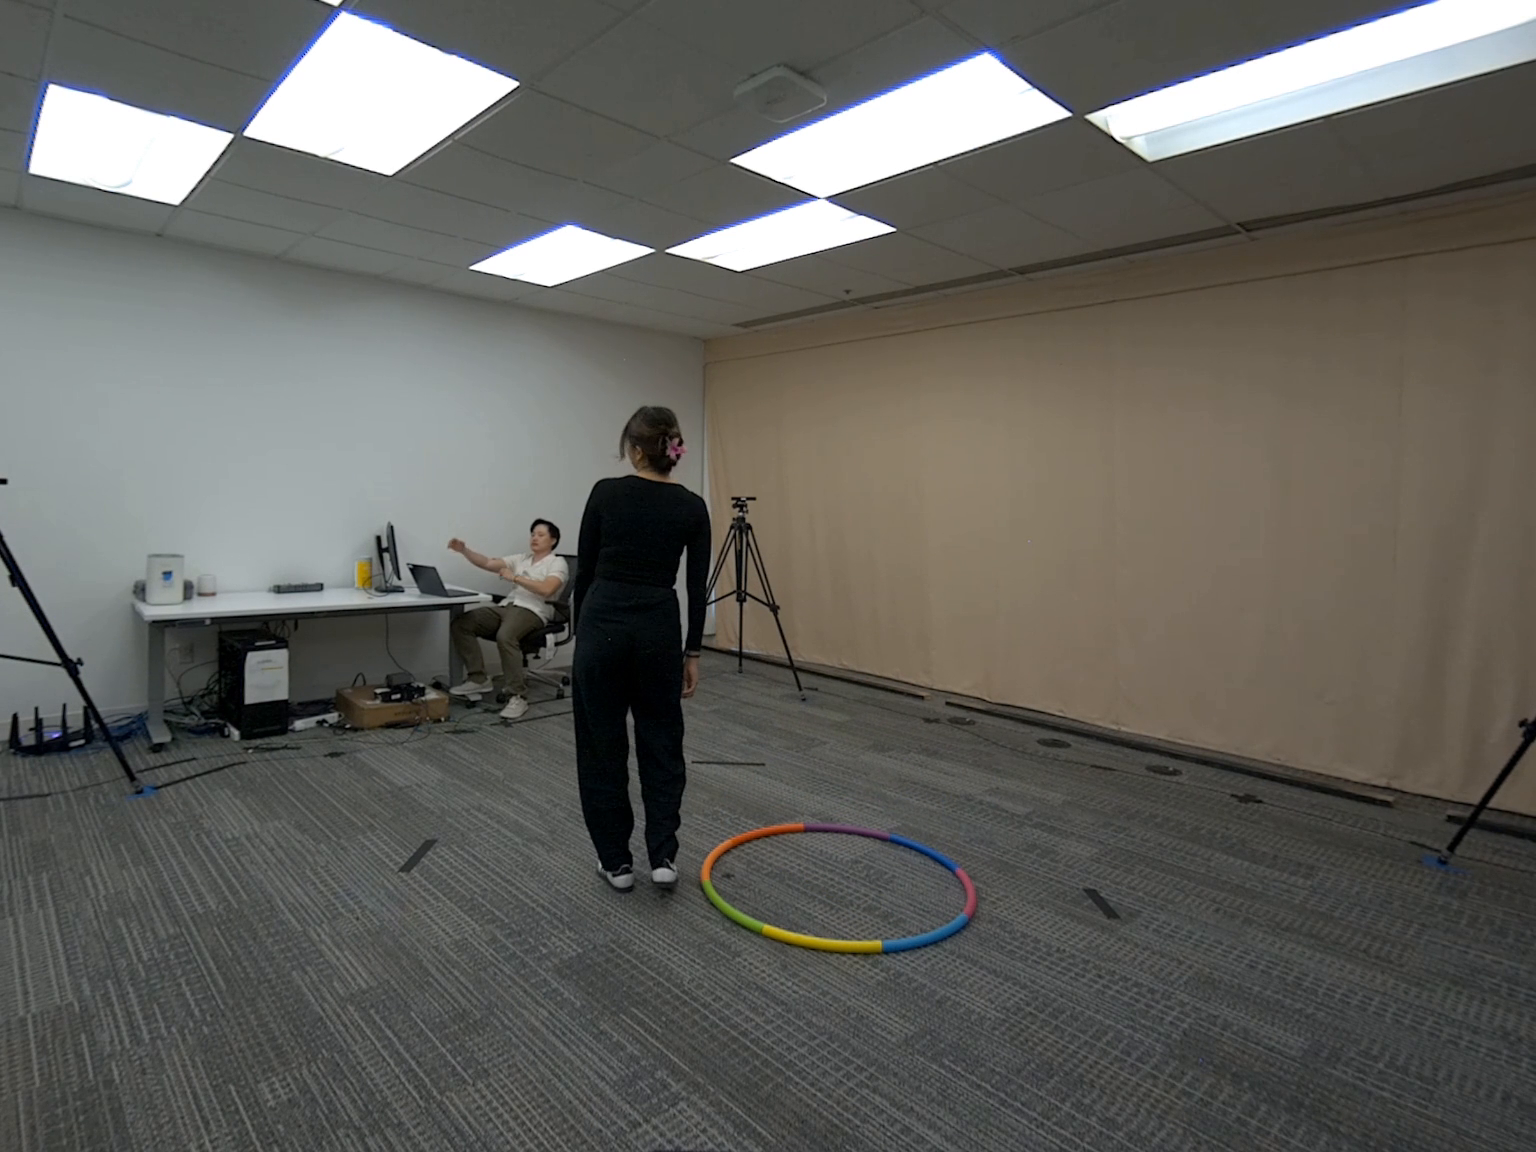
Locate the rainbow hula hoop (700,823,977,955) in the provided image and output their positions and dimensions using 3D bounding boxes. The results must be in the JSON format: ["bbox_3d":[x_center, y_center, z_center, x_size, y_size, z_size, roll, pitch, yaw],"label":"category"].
[{"bbox_3d":[0.243,1.087,3.071,0.978,0.035,0.982,1,5,-1],"label":"rainbow hula hoop"}]
